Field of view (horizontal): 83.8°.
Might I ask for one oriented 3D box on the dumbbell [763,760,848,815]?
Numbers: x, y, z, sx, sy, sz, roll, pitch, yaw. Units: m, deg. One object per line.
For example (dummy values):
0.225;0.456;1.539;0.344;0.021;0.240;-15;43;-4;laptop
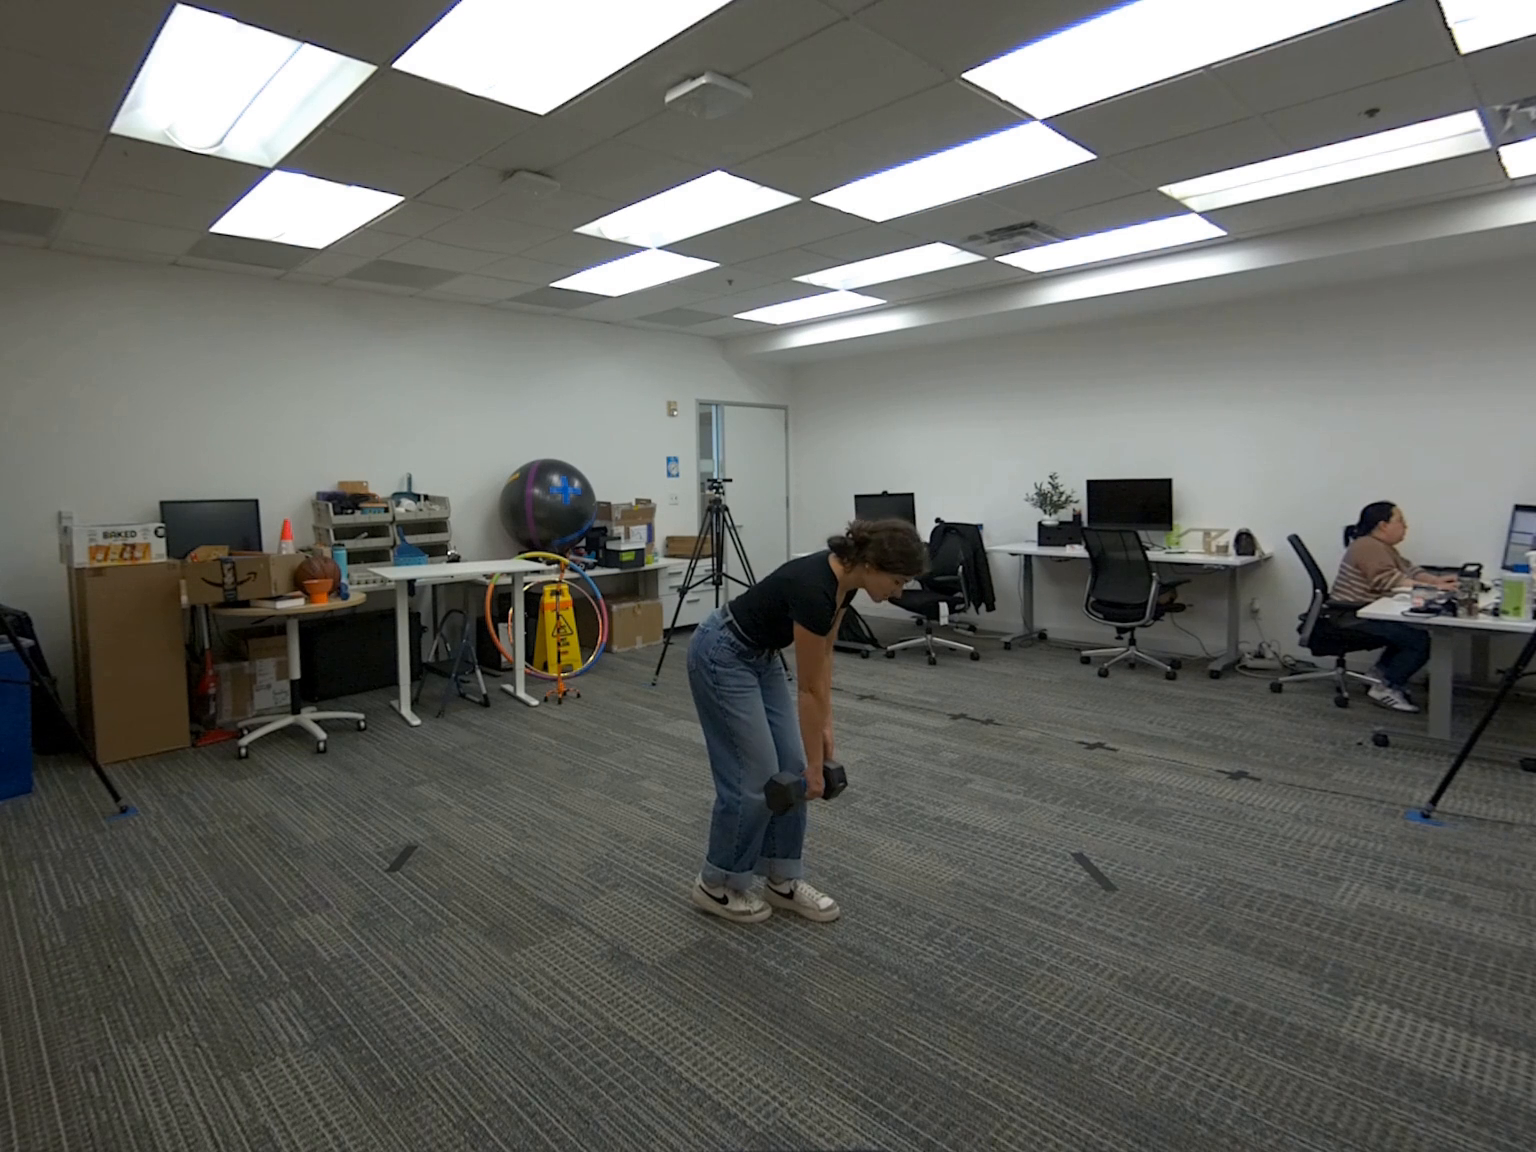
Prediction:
0.110;0.647;2.634;0.285;0.122;0.112;-4;46;-50;dumbbell
